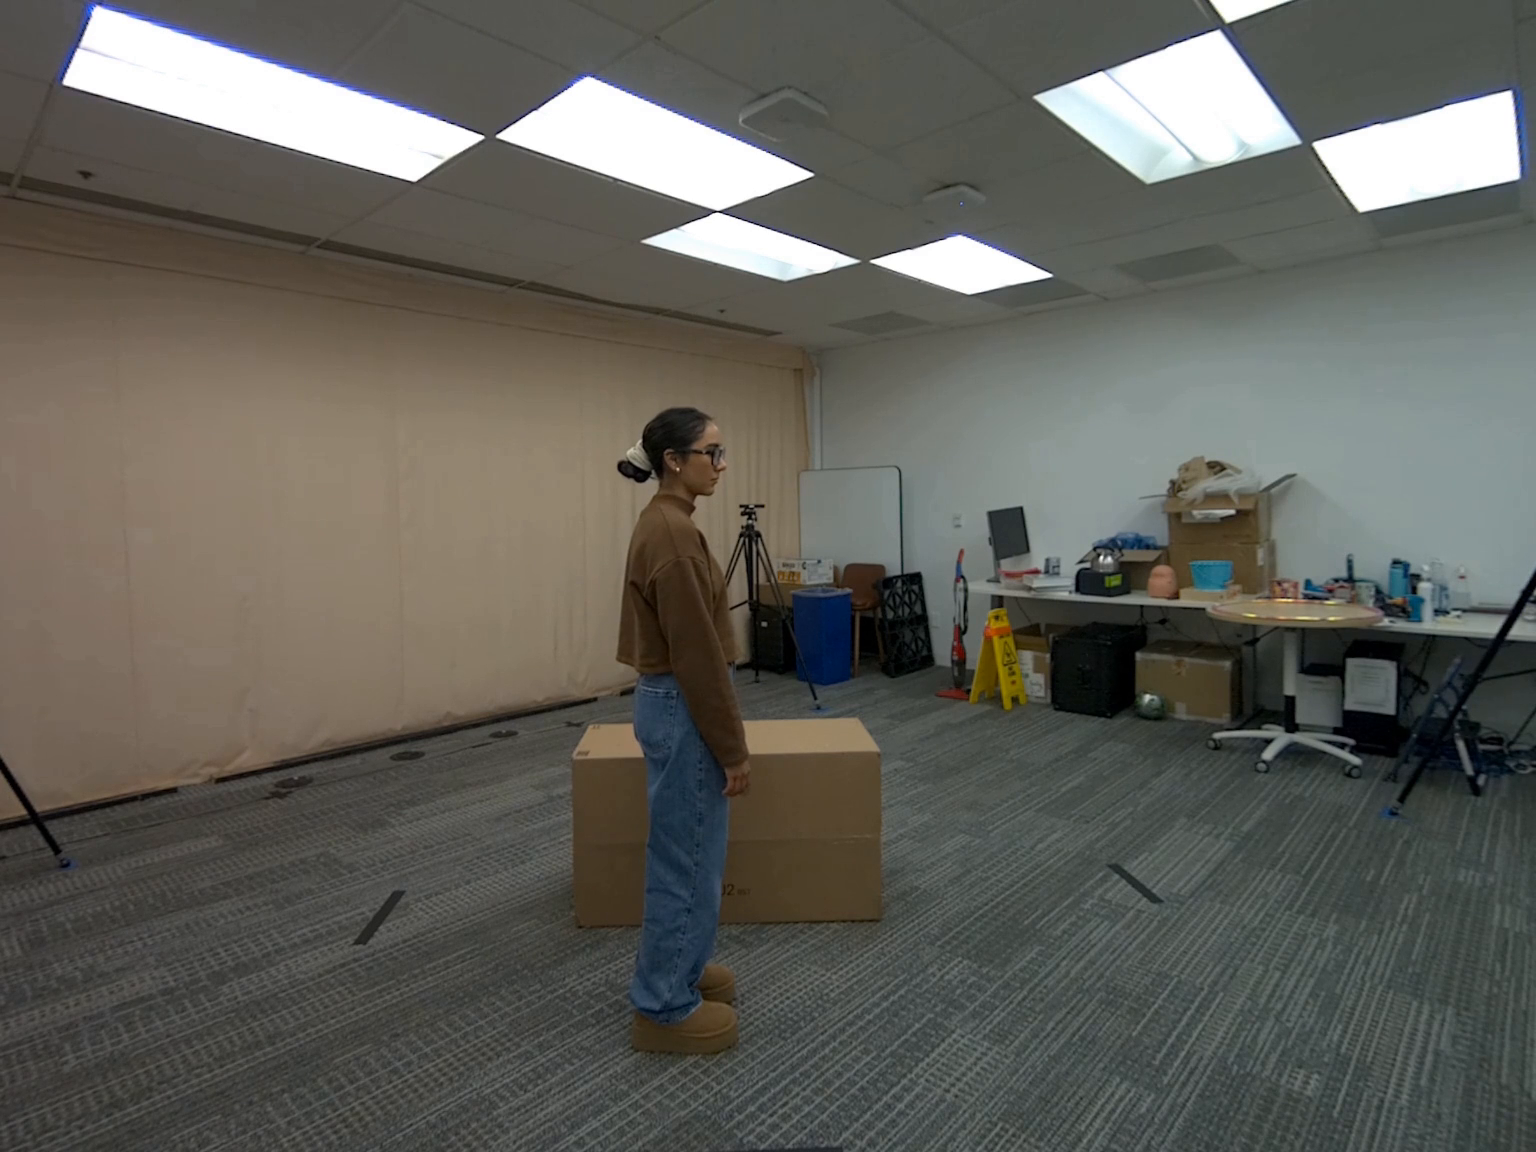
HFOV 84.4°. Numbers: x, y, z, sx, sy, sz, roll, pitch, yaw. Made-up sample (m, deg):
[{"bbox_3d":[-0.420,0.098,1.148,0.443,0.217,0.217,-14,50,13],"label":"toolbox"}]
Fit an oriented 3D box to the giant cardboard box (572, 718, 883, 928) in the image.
[{"bbox_3d":[-0.148,0.856,2.992,1.027,0.582,0.448,-1,5,0],"label":"giant cardboard box"}]
